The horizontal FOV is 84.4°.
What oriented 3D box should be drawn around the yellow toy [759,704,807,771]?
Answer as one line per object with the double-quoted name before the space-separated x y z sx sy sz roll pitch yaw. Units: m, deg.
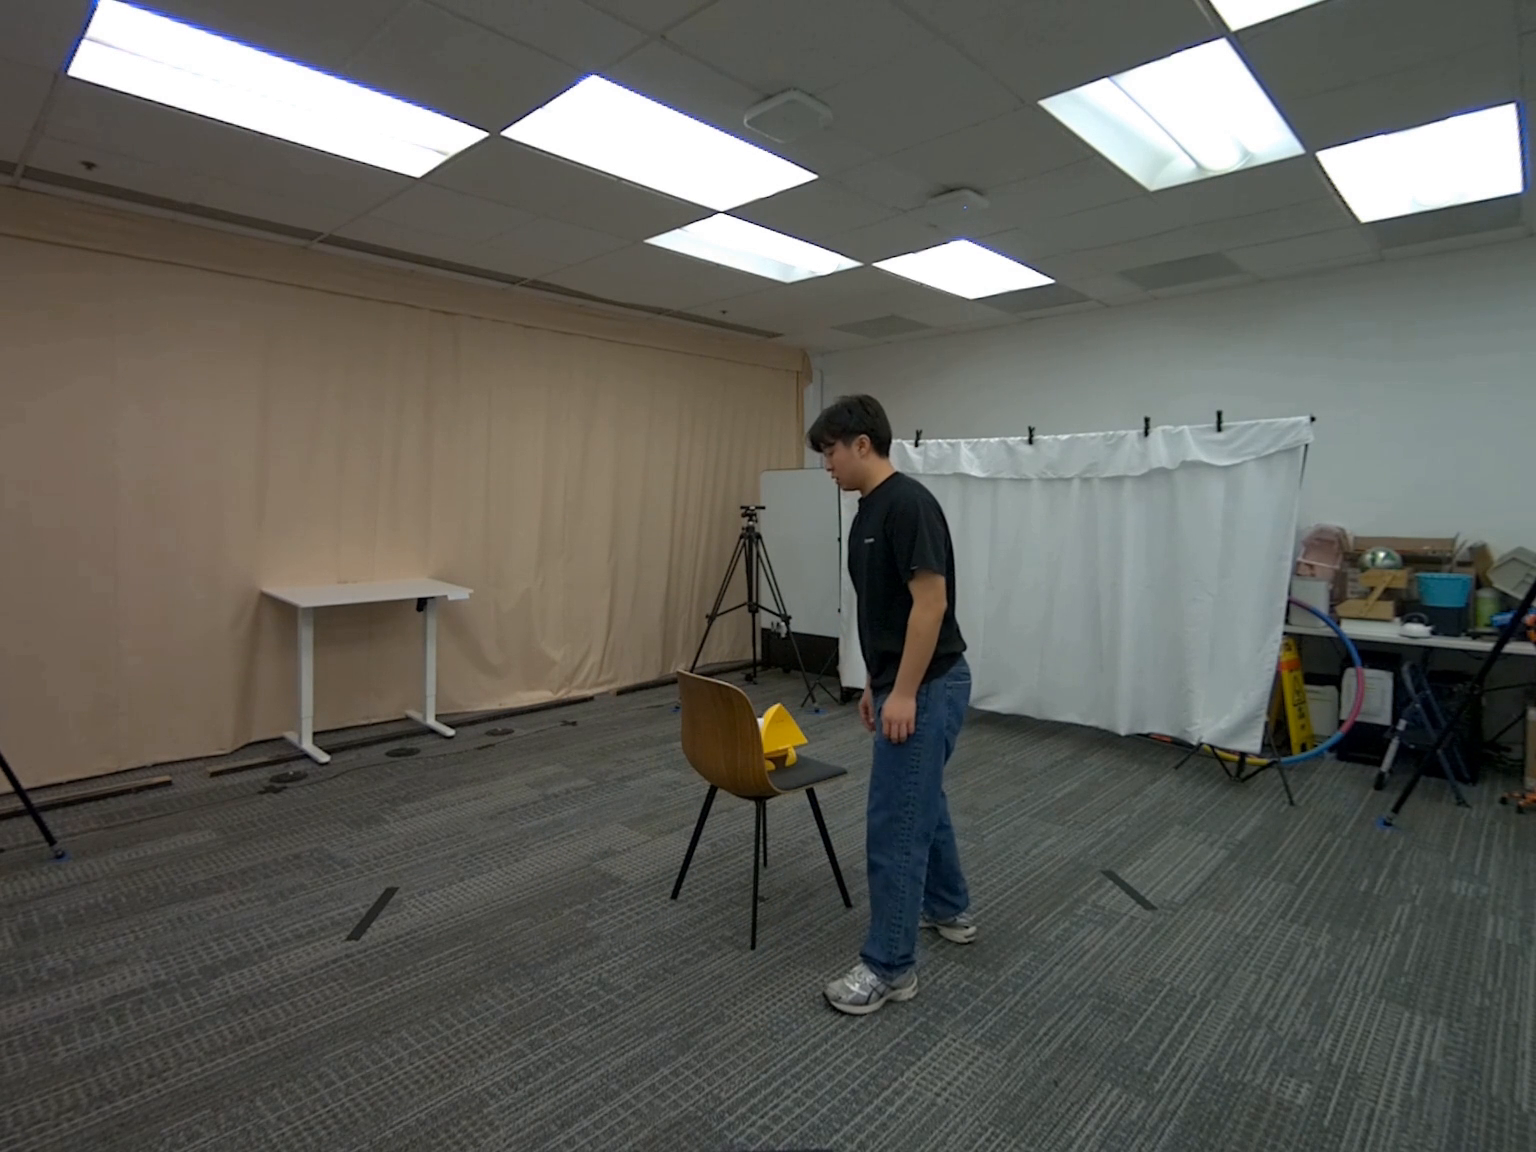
"yellow toy" 0.008 0.551 2.985 0.199 0.229 0.199 -6 11 -33
